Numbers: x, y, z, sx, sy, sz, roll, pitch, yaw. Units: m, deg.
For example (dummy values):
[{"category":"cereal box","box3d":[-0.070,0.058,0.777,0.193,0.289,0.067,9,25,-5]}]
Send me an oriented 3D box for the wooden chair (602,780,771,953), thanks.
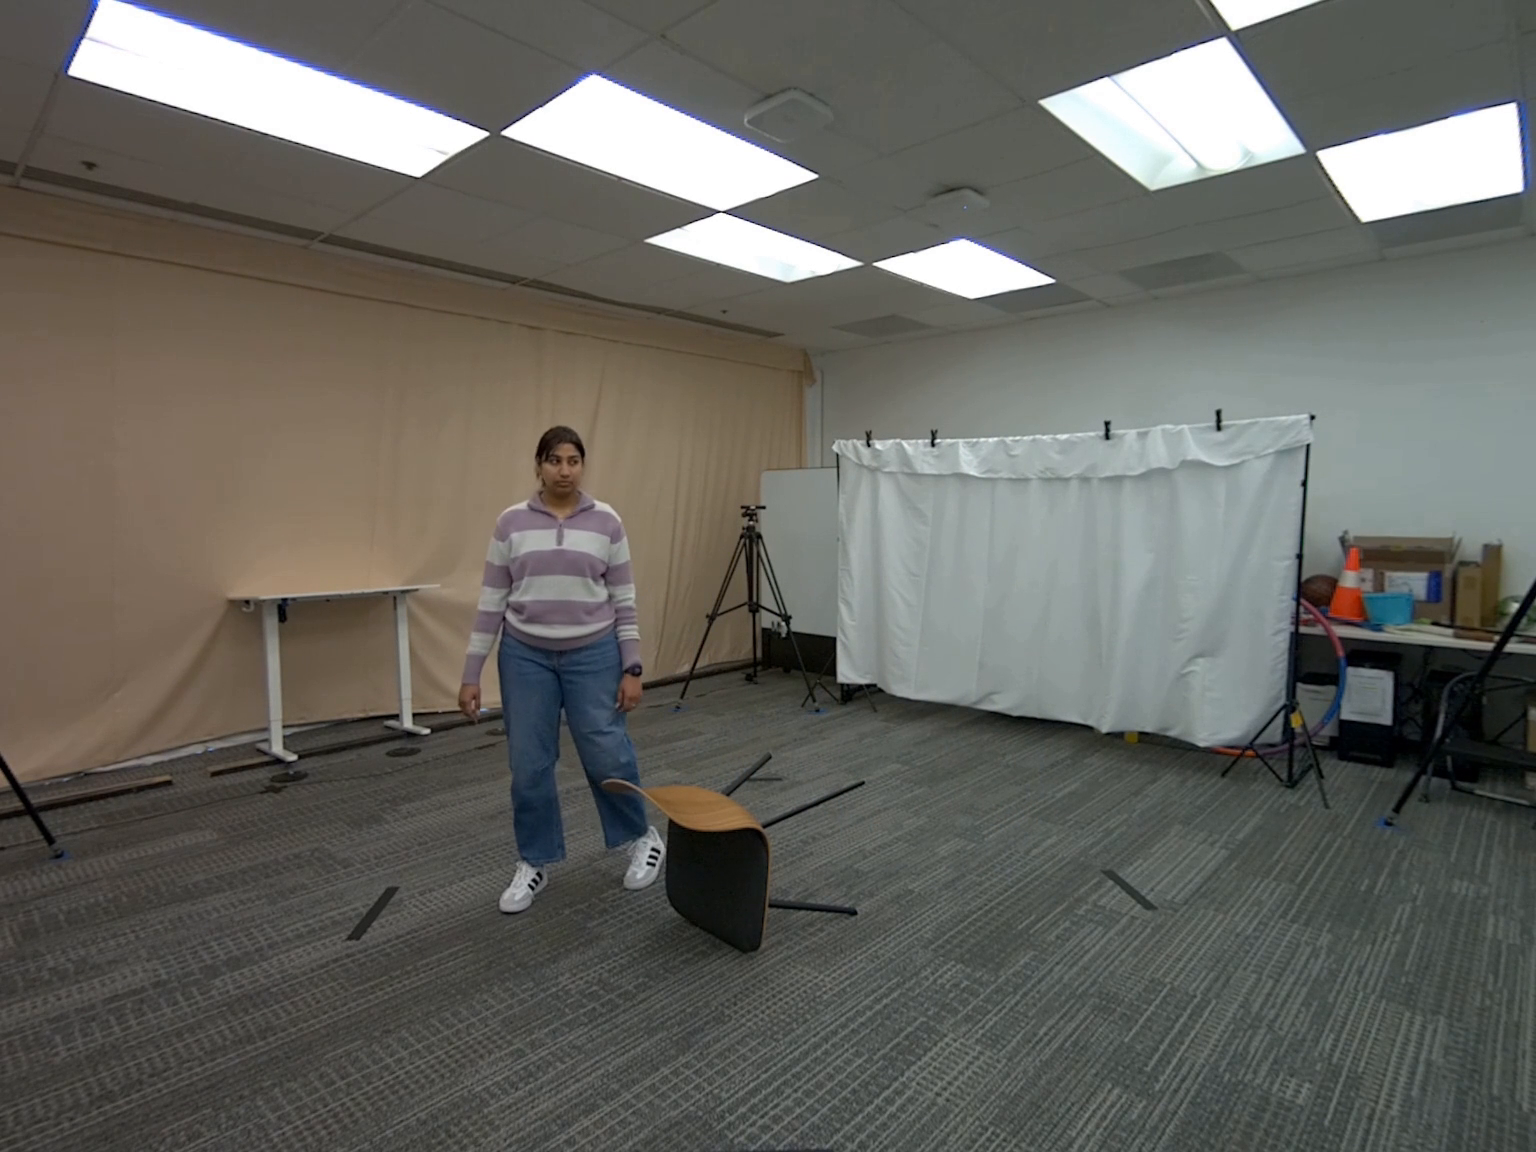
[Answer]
[{"category":"wooden chair","box3d":[-0.136,0.909,2.738,0.494,0.524,0.847,5,-2,45]}]
